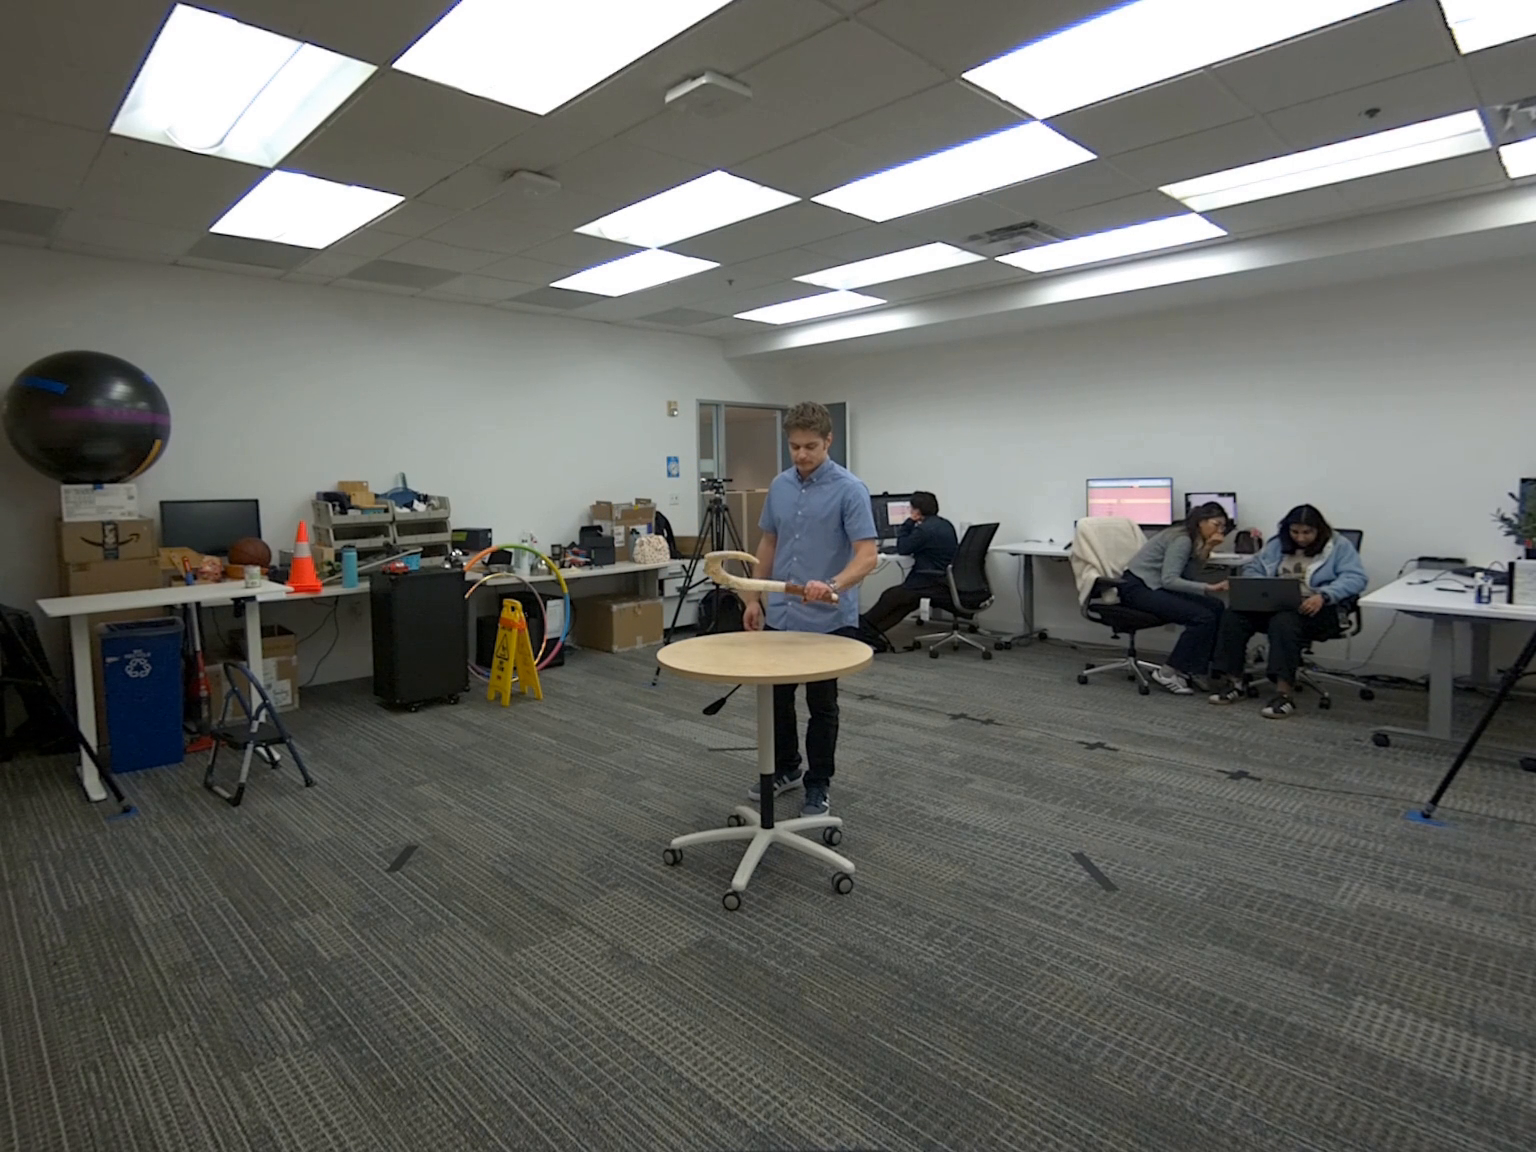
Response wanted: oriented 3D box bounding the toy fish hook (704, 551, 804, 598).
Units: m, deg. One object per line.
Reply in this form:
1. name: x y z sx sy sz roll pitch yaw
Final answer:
1. toy fish hook: 0.030 0.012 3.098 0.506 0.049 0.221 13 -29 -1
